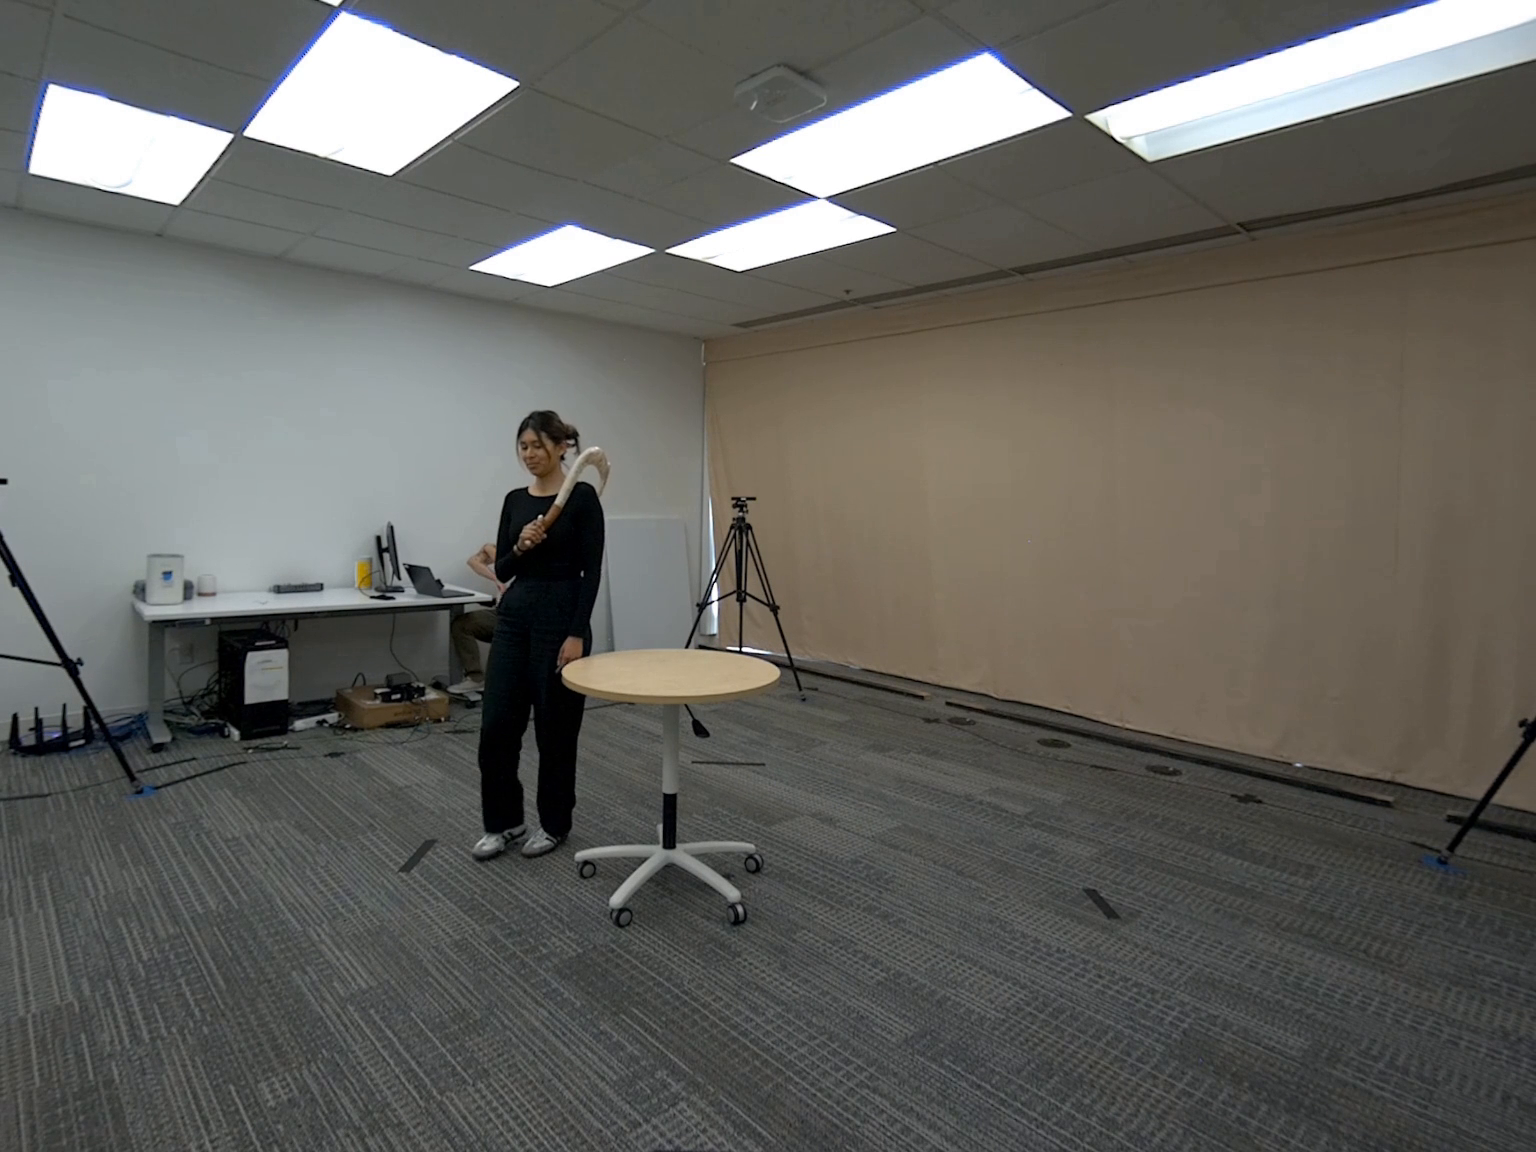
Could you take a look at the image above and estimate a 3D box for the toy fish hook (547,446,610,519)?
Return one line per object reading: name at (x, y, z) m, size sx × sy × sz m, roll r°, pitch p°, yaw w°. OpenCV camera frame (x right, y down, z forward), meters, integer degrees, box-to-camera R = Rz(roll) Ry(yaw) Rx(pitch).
toy fish hook at (-0.774, -0.275, 3.236) m, size 0.049 × 0.510 × 0.218 m, roll 11°, pitch -31°, yaw 30°
